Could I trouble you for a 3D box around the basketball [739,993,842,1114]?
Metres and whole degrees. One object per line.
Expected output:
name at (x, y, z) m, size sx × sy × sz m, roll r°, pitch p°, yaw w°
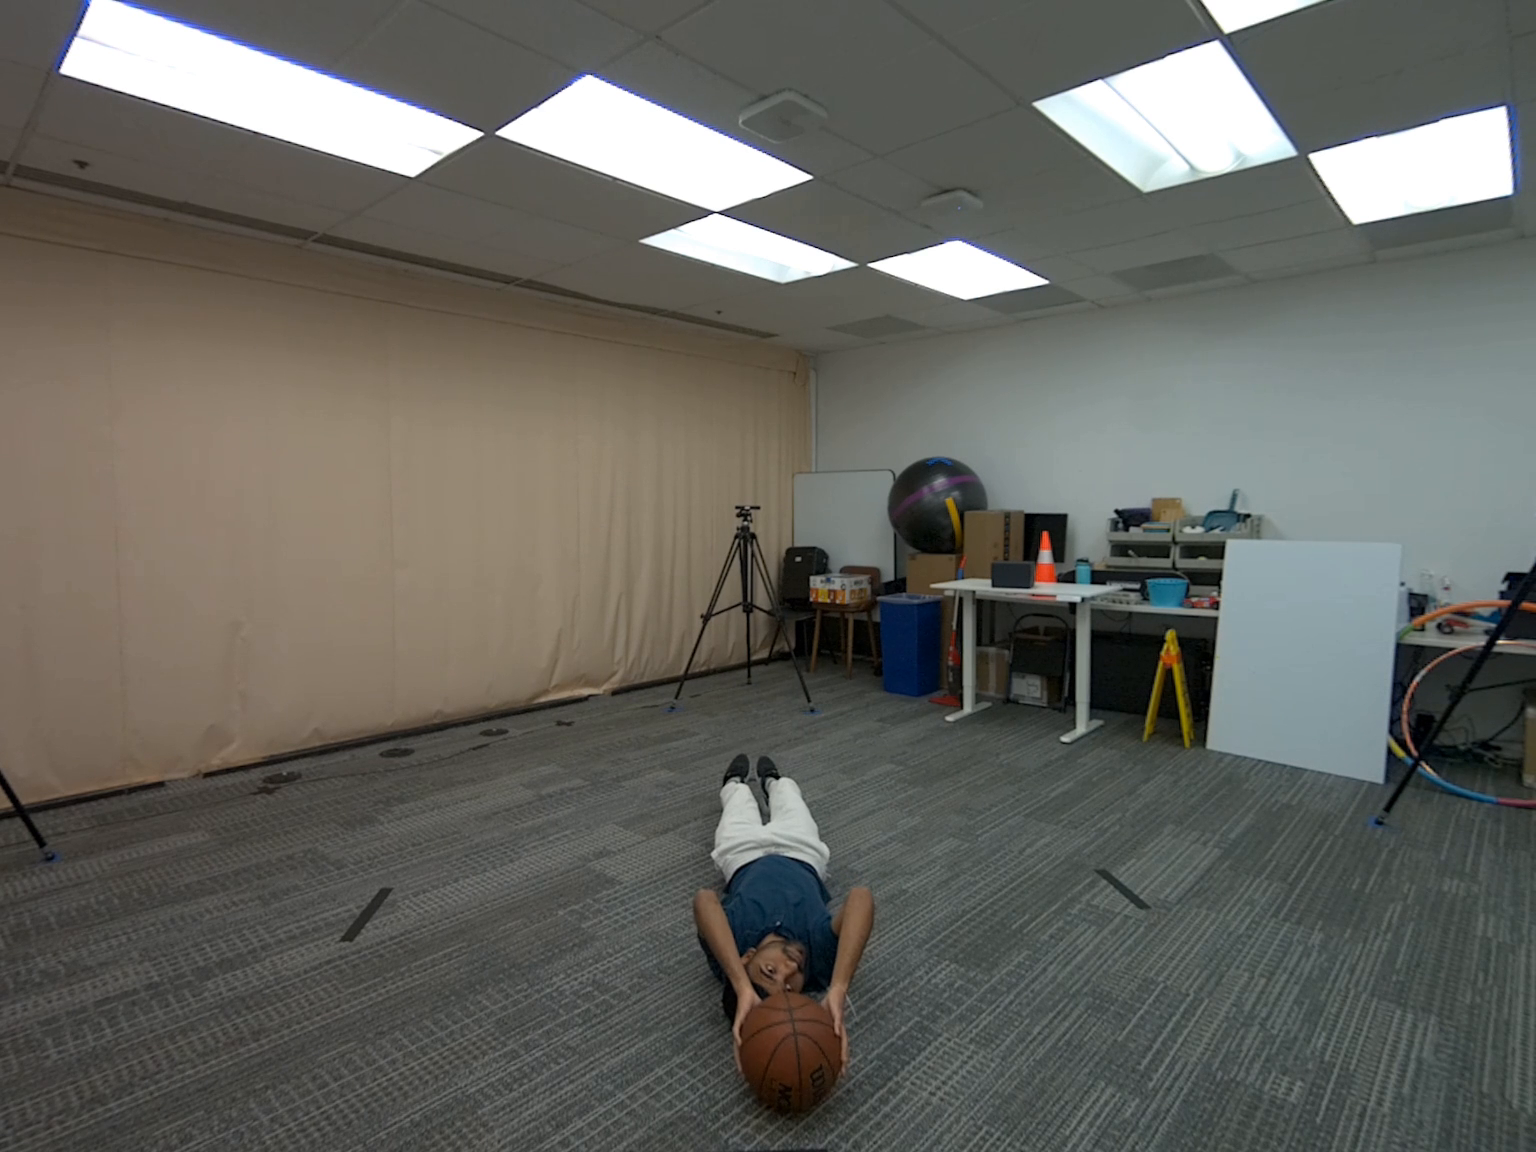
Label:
basketball at (0.060, 1.112, 1.960) m, size 0.236 × 0.235 × 0.237 m, roll 0°, pitch 4°, yaw -2°
